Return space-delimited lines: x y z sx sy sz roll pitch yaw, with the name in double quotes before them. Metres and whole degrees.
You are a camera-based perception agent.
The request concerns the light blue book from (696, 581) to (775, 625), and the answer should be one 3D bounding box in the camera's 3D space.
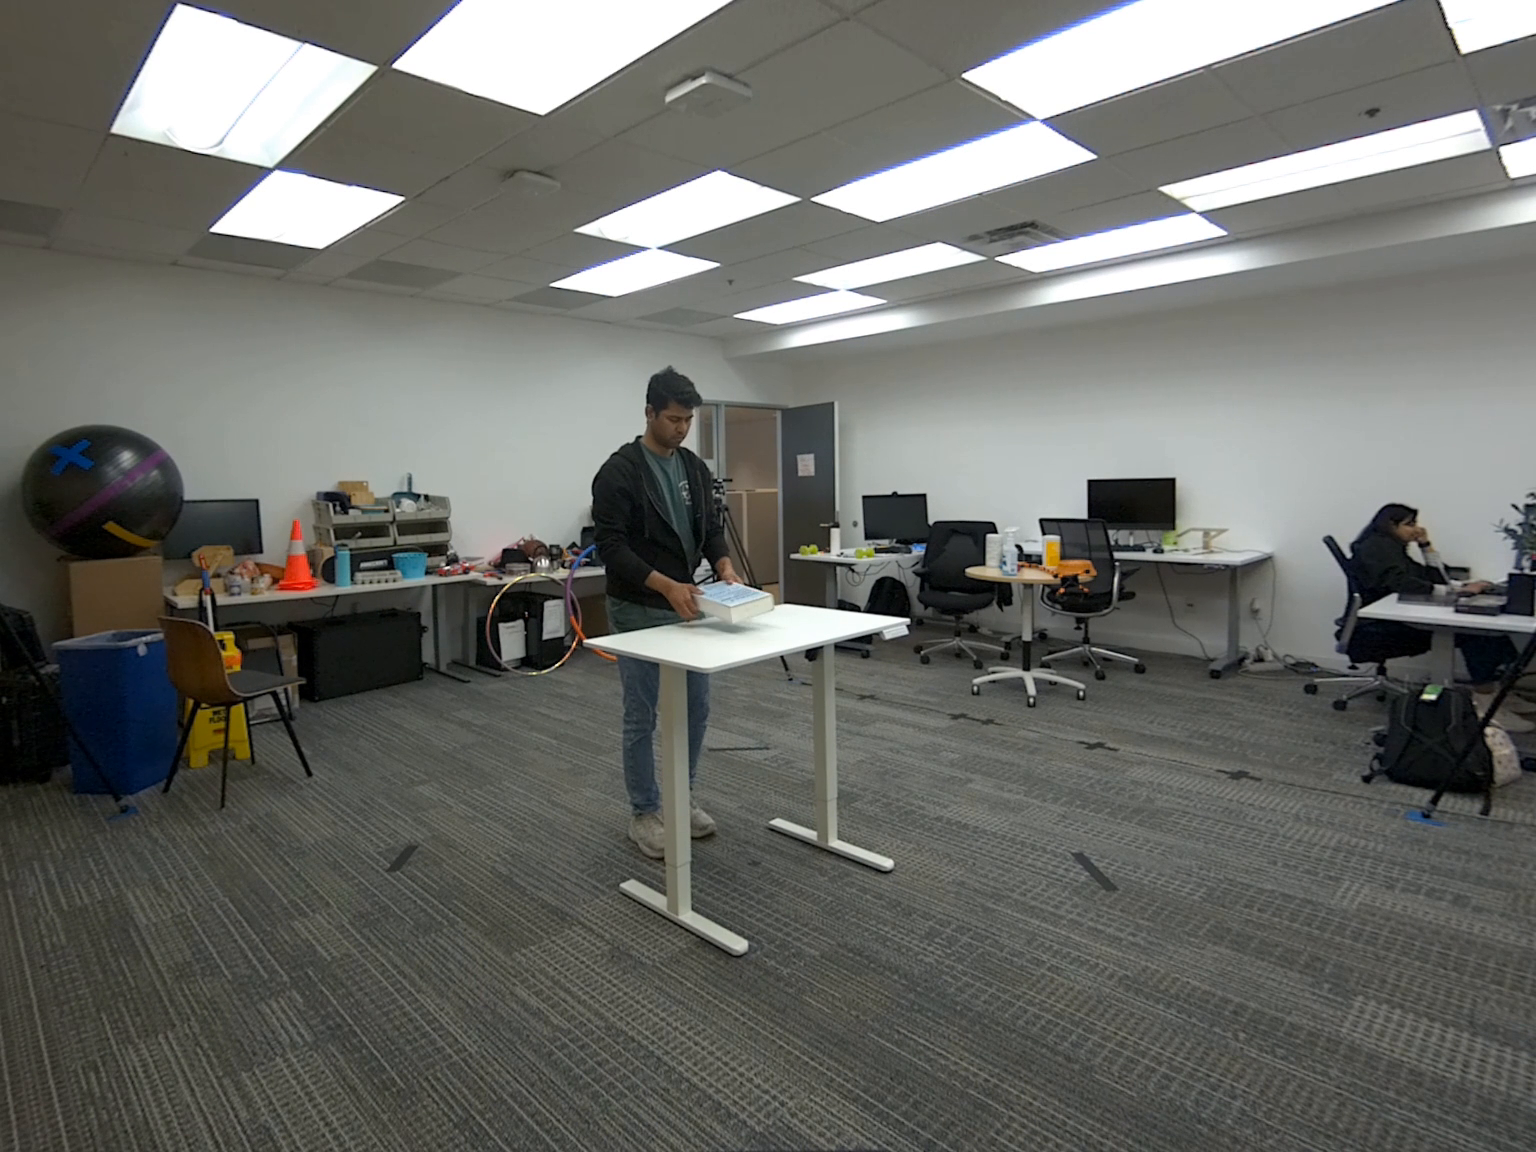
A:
"light blue book" -0.136 0.086 2.968 0.187 0.058 0.270 -14 18 -34
